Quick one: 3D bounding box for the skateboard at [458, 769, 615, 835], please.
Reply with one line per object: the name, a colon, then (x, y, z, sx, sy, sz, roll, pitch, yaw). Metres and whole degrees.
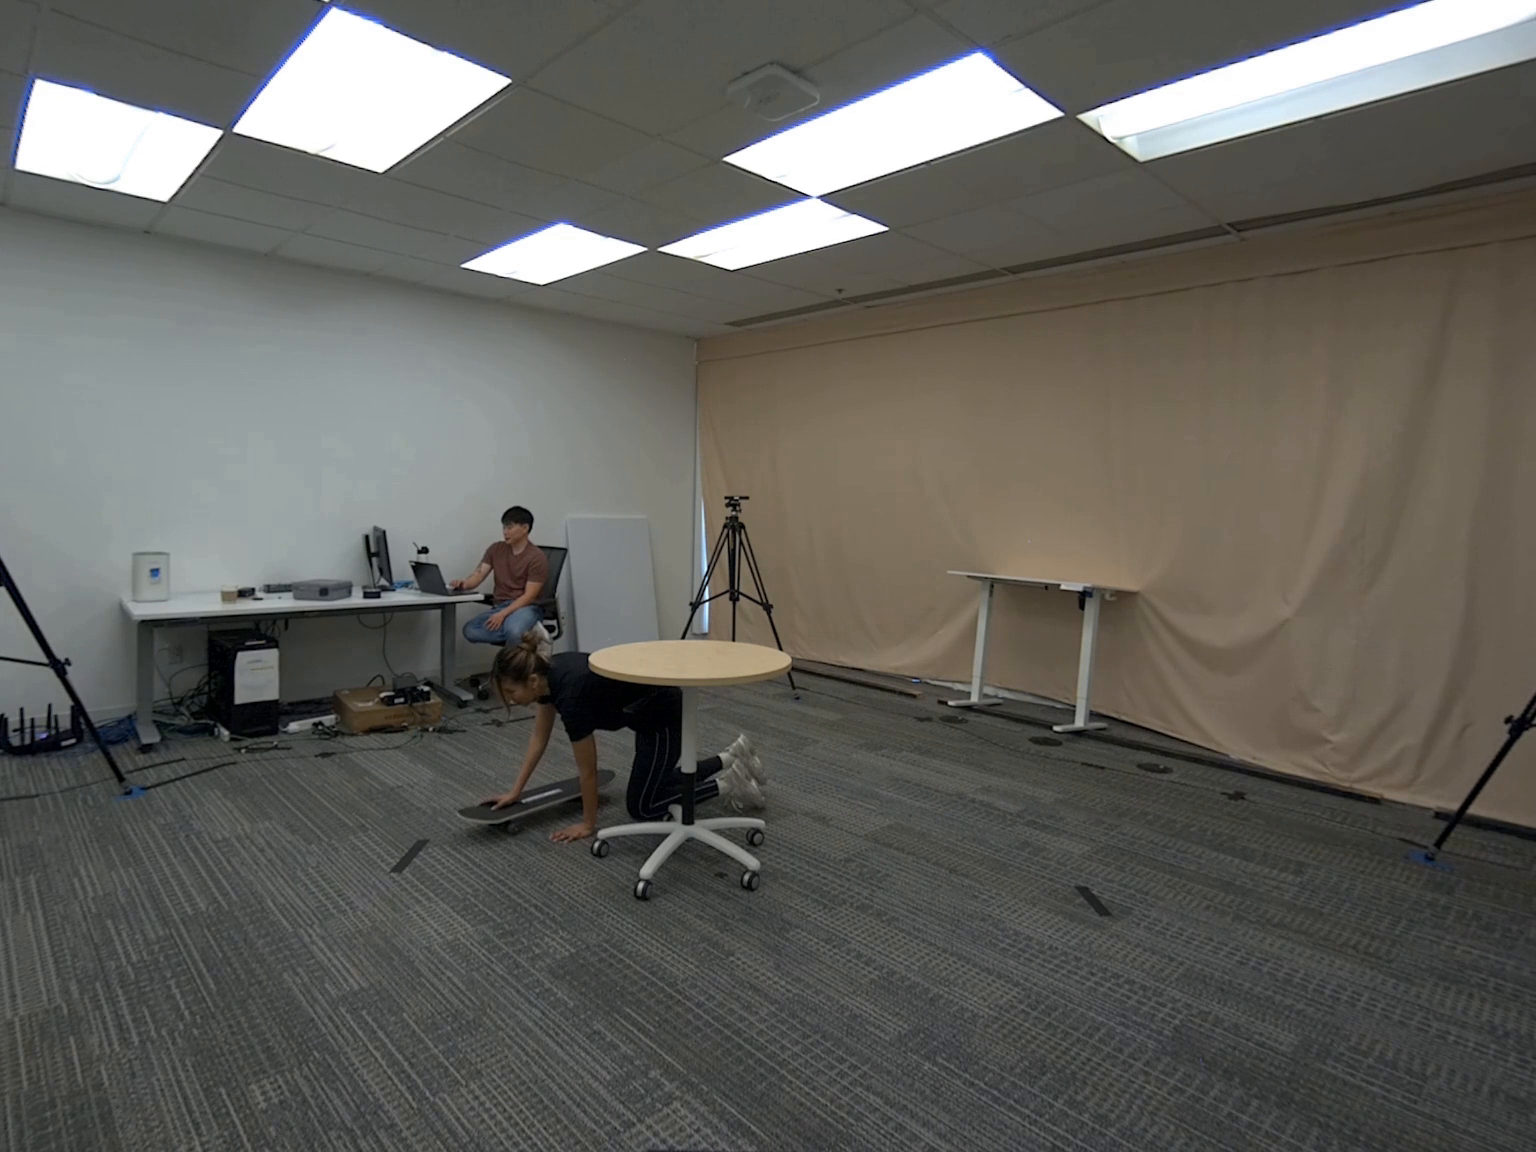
skateboard: (-0.975, 0.973, 3.629, 0.198, 0.110, 0.768, 5, 7, 40)
